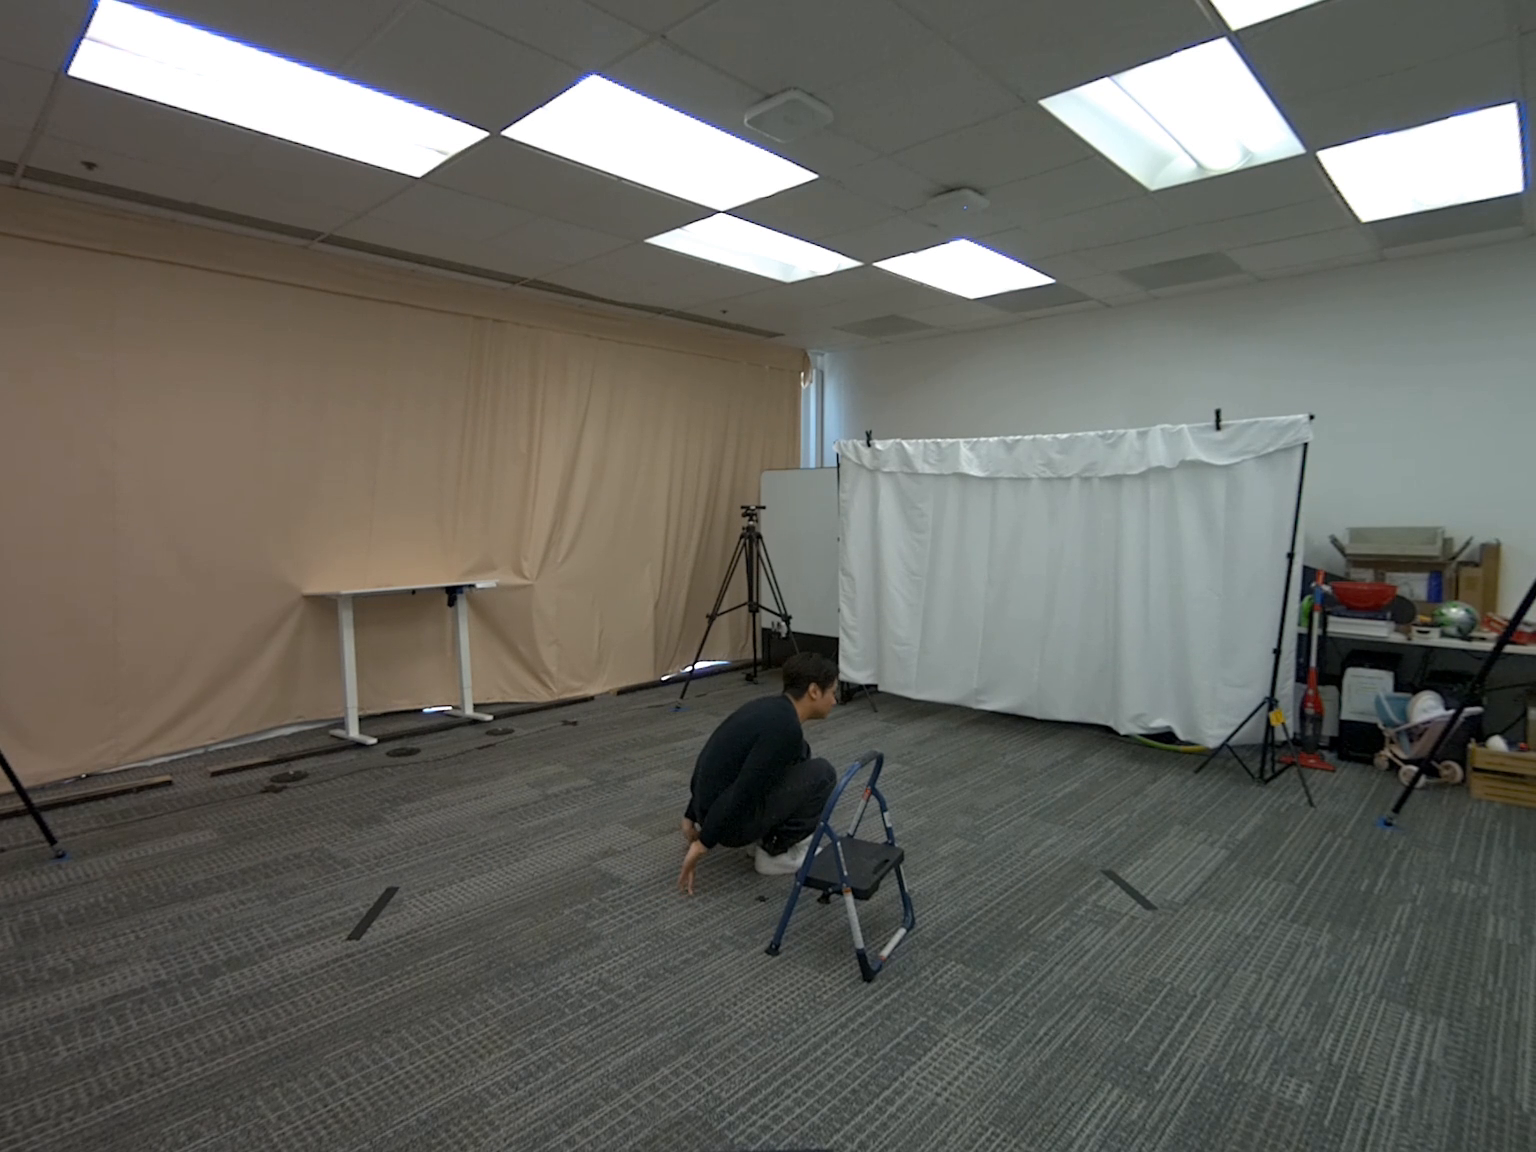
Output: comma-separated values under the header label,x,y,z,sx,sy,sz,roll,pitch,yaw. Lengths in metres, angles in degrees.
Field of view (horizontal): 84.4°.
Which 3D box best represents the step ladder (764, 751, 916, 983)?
label,x,y,z,sx,sy,sz,roll,pitch,yaw
step ladder,0.248,0.865,2.693,0.359,0.604,0.420,2,5,29
